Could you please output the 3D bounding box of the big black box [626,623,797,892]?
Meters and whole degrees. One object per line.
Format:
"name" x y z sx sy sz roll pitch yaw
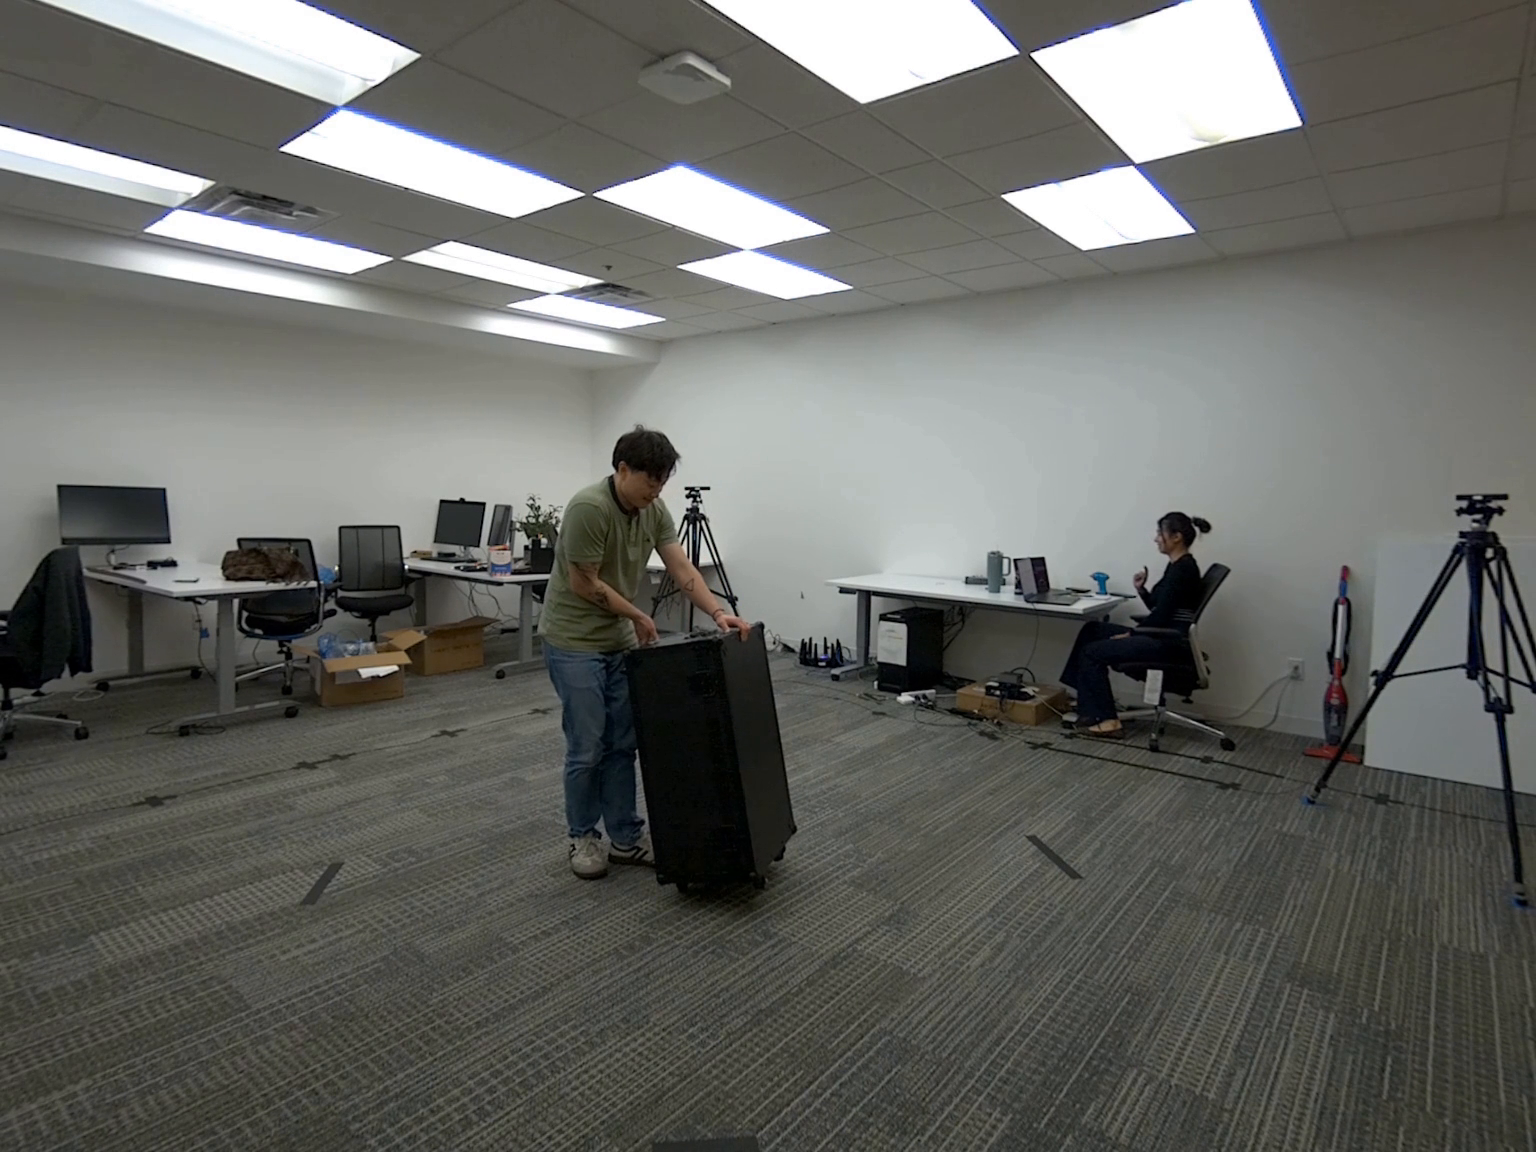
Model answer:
"big black box" -0.207 0.632 3.002 0.403 0.865 0.511 -10 -3 18
